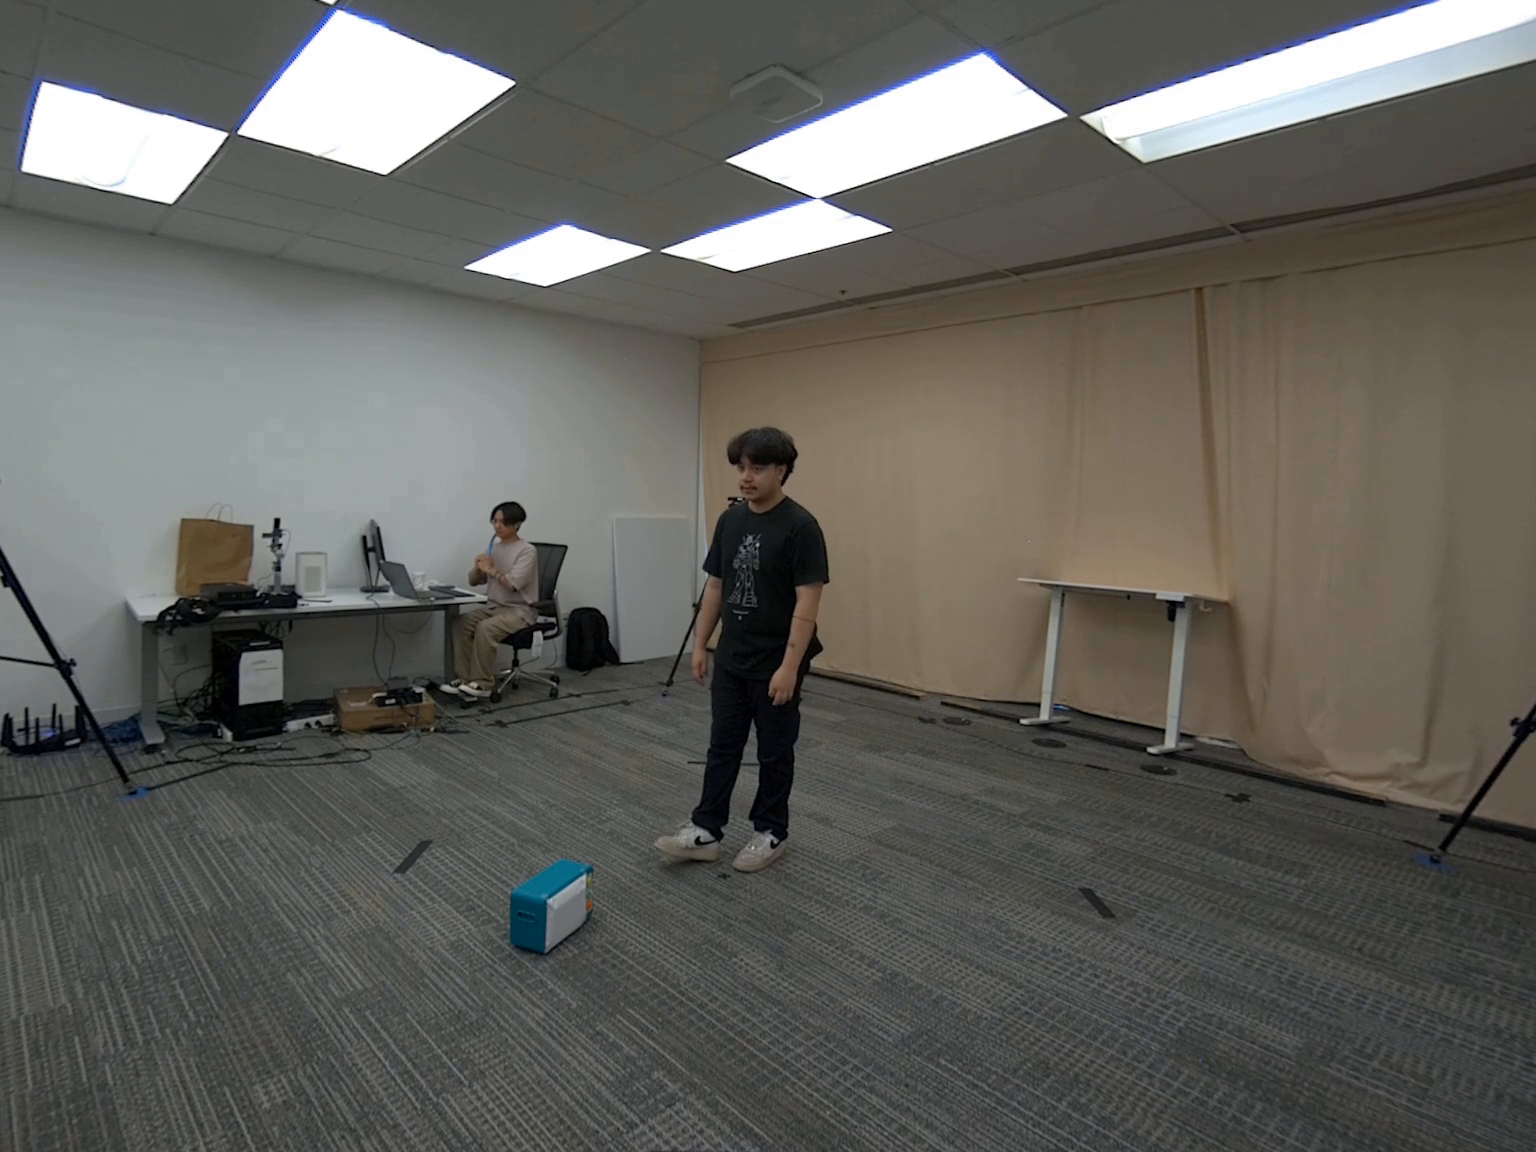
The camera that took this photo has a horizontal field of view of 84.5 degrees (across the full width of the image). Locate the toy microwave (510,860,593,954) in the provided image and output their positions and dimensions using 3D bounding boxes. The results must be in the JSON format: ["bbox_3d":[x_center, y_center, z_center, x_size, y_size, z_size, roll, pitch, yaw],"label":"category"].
[{"bbox_3d":[-0.681,1.045,2.665,0.155,0.183,0.282,3,5,22],"label":"toy microwave"}]
